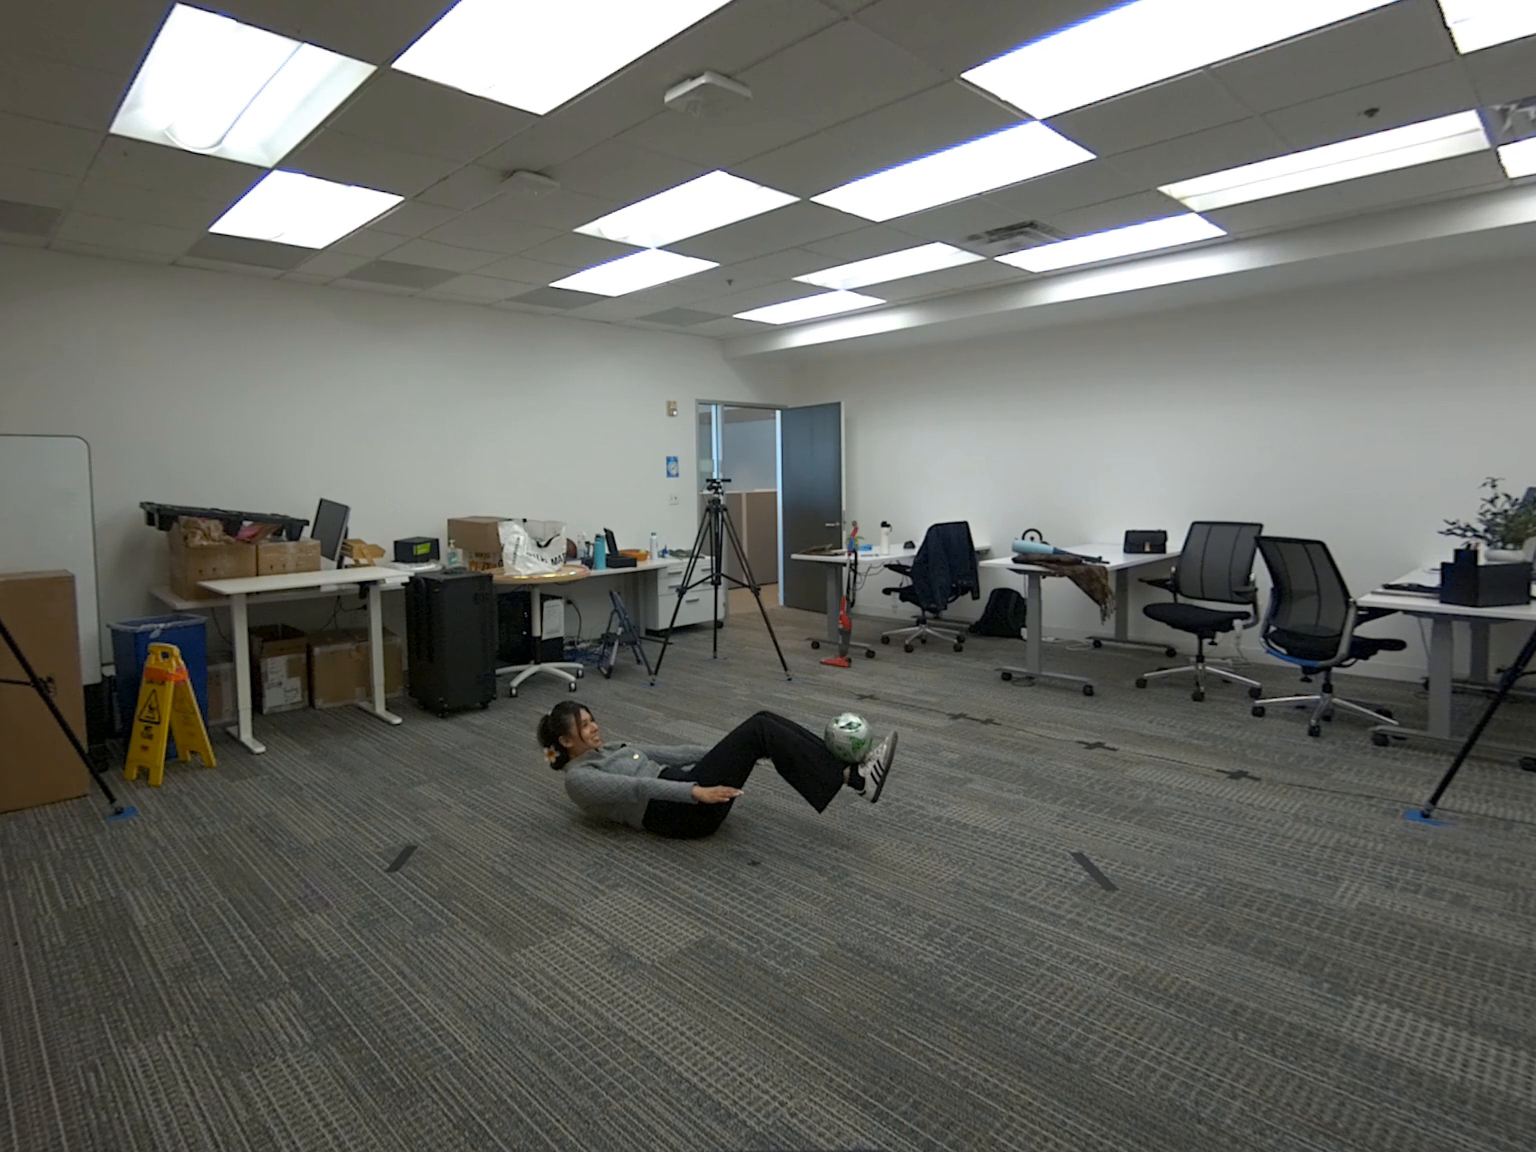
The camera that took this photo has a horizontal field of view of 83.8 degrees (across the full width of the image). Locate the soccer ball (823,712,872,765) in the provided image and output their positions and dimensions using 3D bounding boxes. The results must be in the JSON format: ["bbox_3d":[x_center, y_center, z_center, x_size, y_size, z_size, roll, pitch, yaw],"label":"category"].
[{"bbox_3d":[0.308,0.616,3.265,0.187,0.187,0.188,-1,5,-2],"label":"soccer ball"}]
